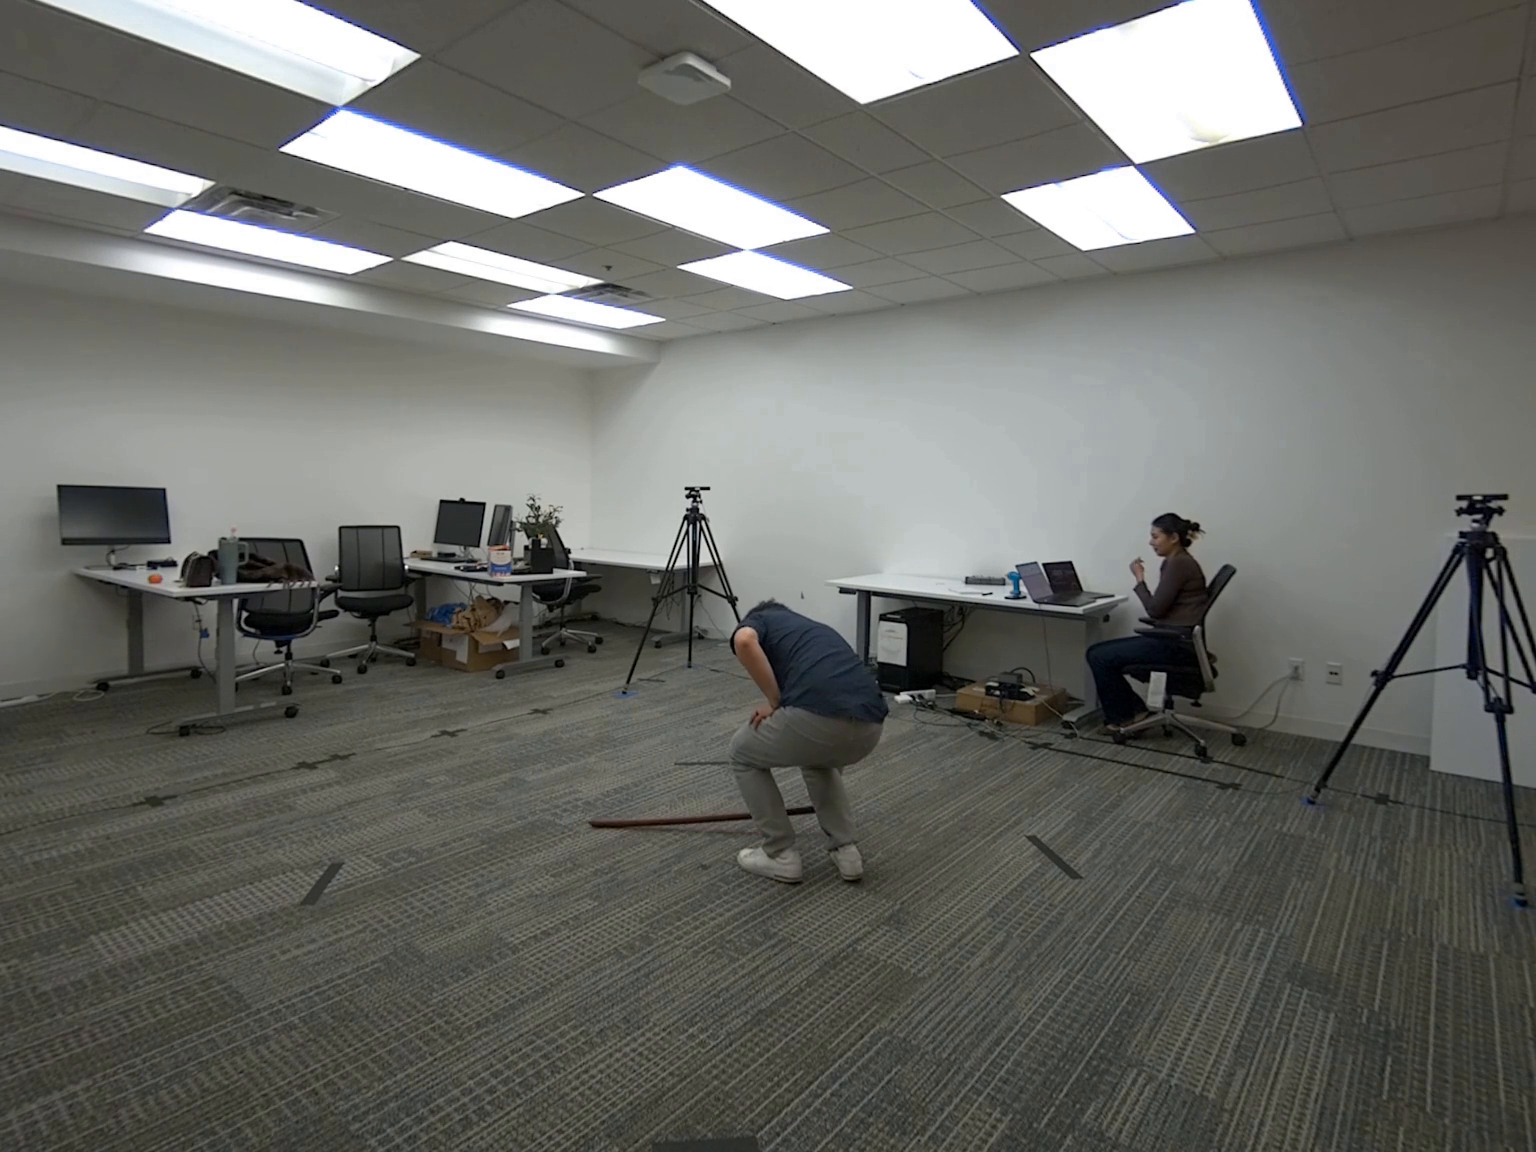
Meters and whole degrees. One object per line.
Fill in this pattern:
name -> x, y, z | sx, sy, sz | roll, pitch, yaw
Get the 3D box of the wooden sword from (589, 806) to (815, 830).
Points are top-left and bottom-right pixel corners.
wooden sword -> -0.227, 0.983, 3.451 | 1.027, 0.024, 0.050 | -4, -26, 2
